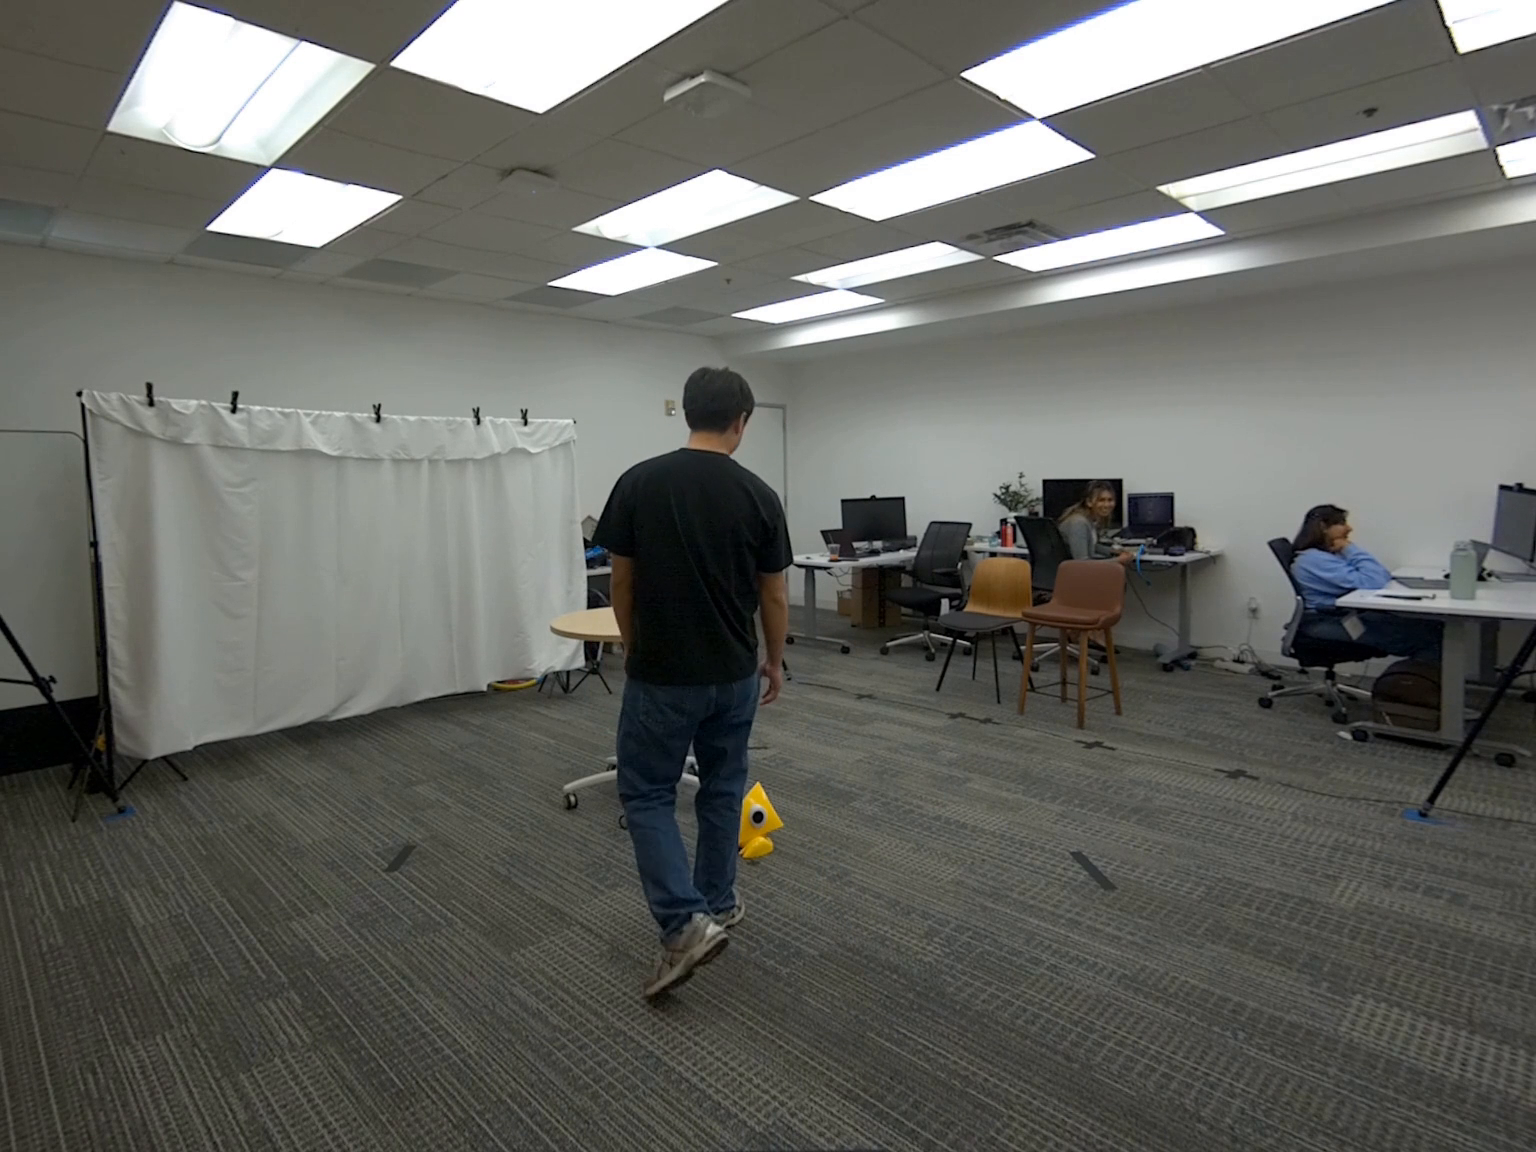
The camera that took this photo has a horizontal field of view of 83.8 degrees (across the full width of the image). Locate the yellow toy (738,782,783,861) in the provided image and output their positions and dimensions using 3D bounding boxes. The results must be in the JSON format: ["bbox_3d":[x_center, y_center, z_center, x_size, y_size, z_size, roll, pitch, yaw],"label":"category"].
[{"bbox_3d":[-0.071,0.914,3.246,0.188,0.230,0.211,-6,6,-43],"label":"yellow toy"}]
